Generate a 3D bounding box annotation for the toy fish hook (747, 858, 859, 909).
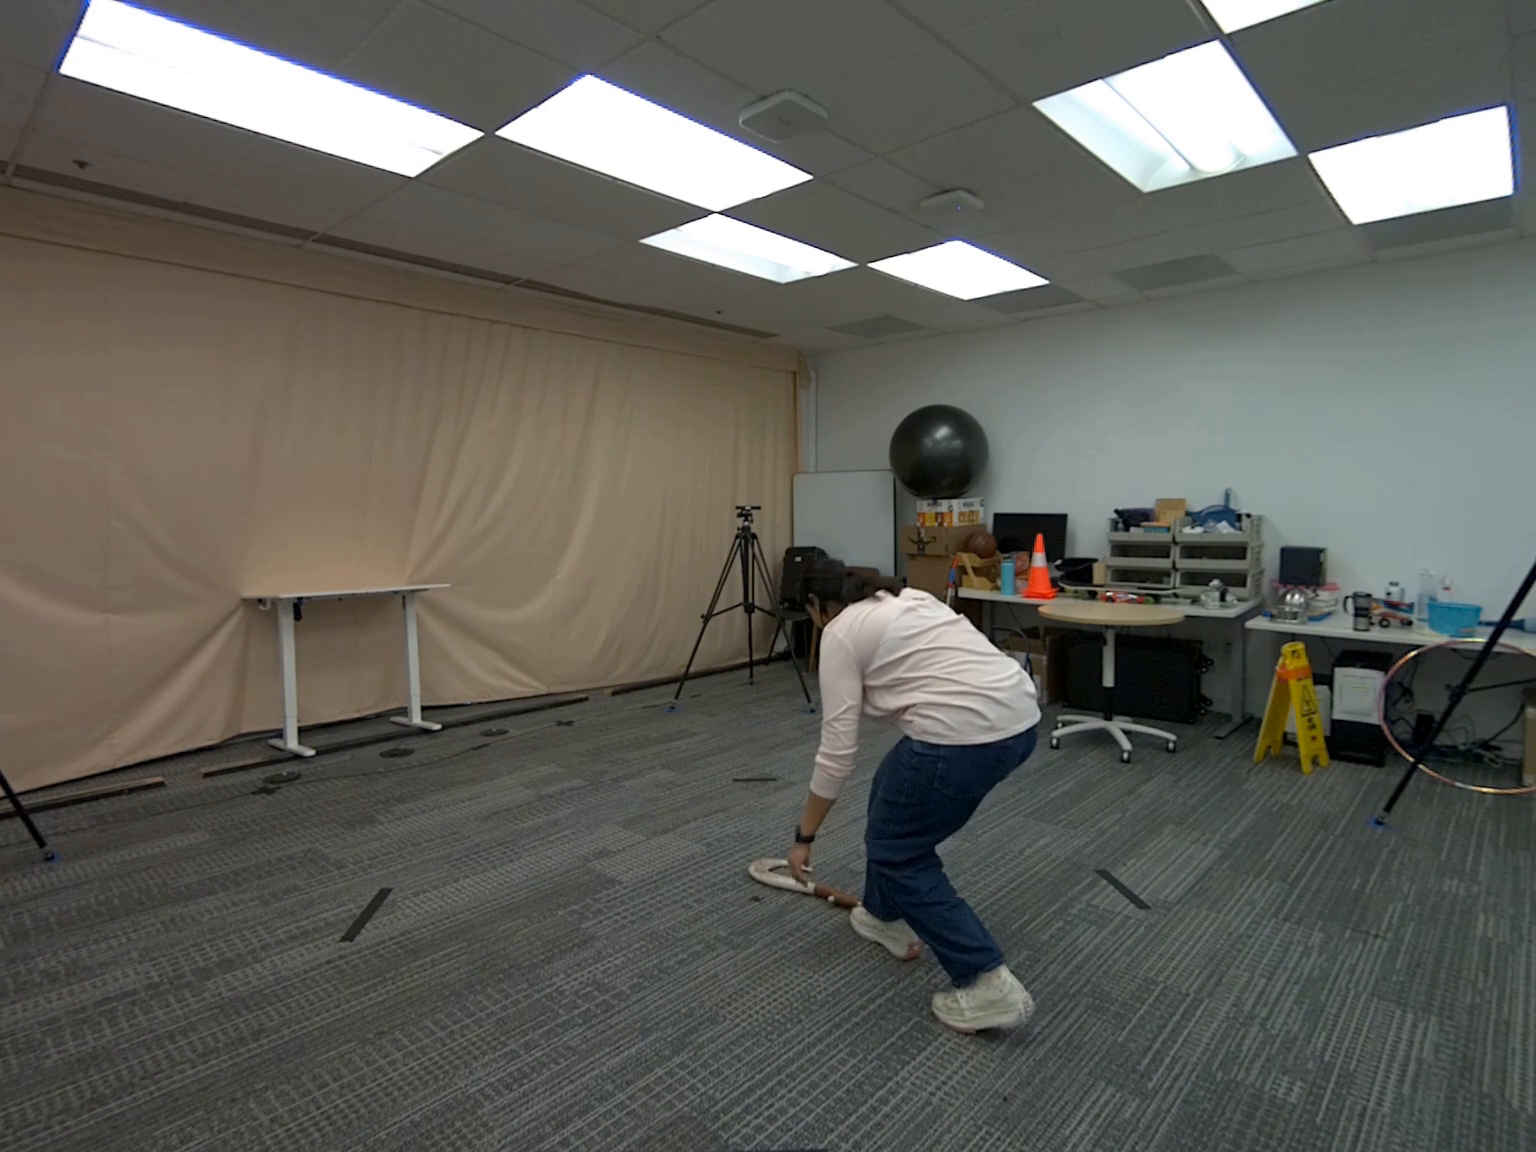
[{"bbox_3d":[0.162,1.113,3.075,0.523,0.048,0.218,4,8,39],"label":"toy fish hook"}]
